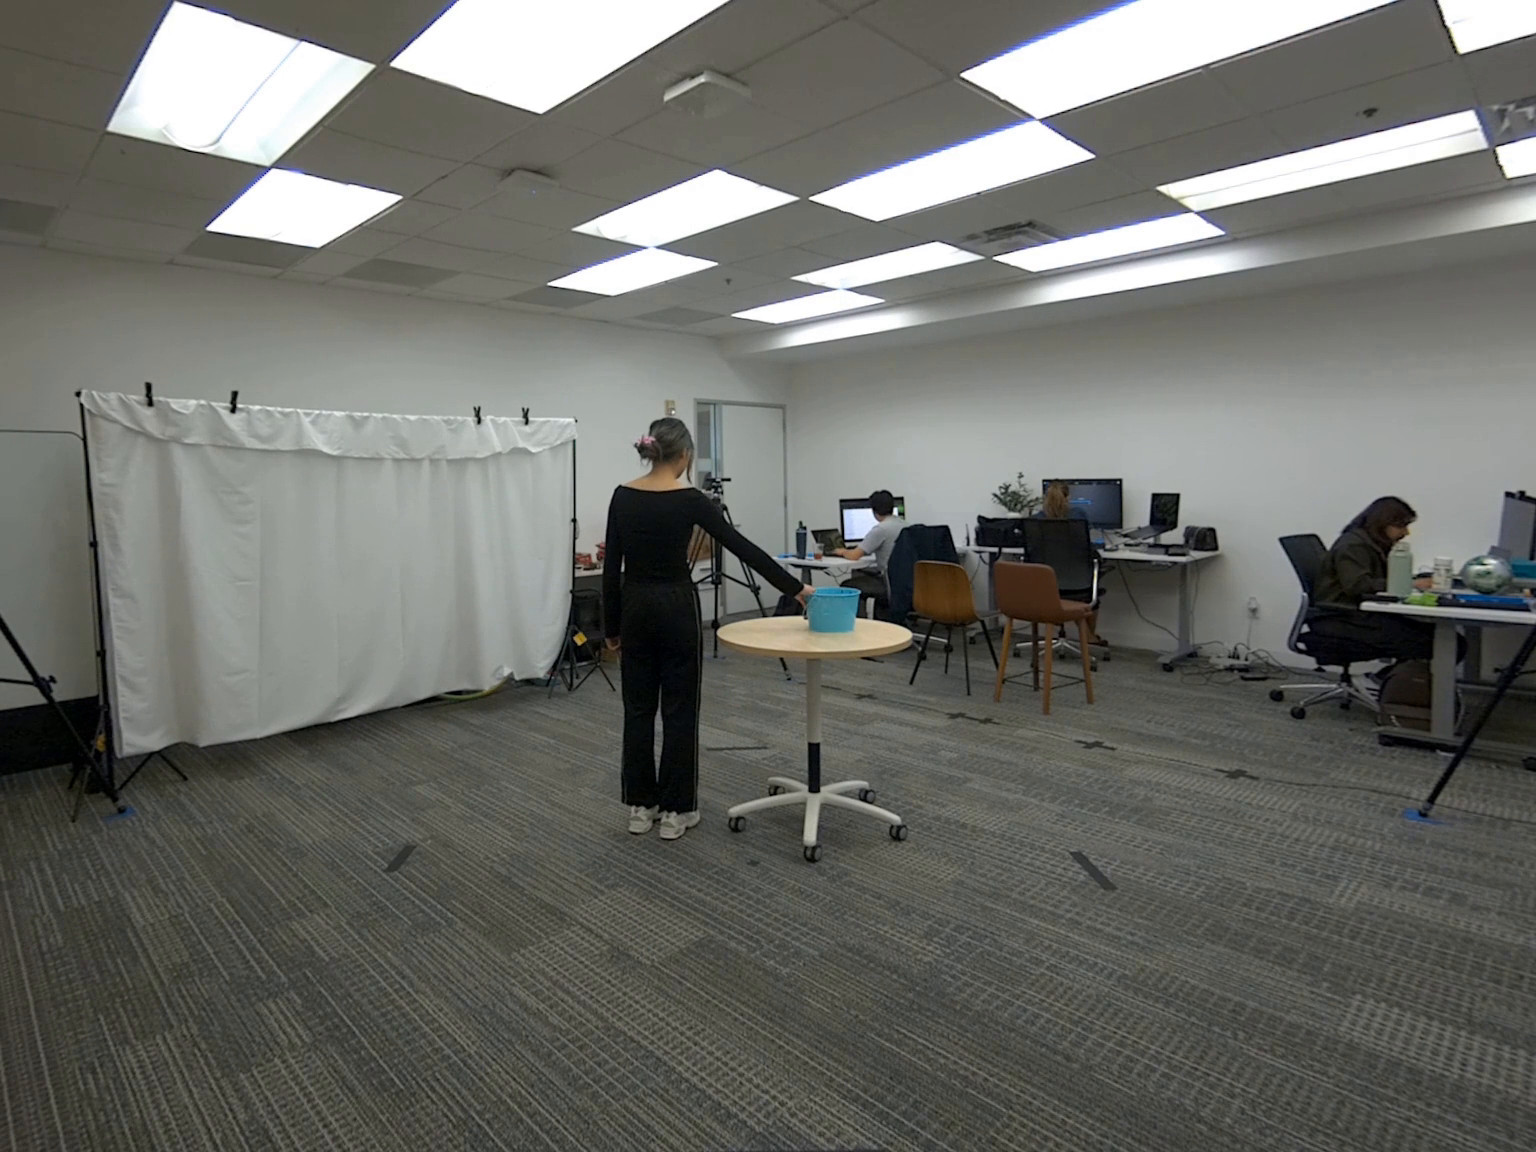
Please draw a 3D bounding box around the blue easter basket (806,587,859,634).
[{"bbox_3d":[0.248,0.139,3.451,0.243,0.155,0.245,0,7,-2],"label":"blue easter basket"}]
